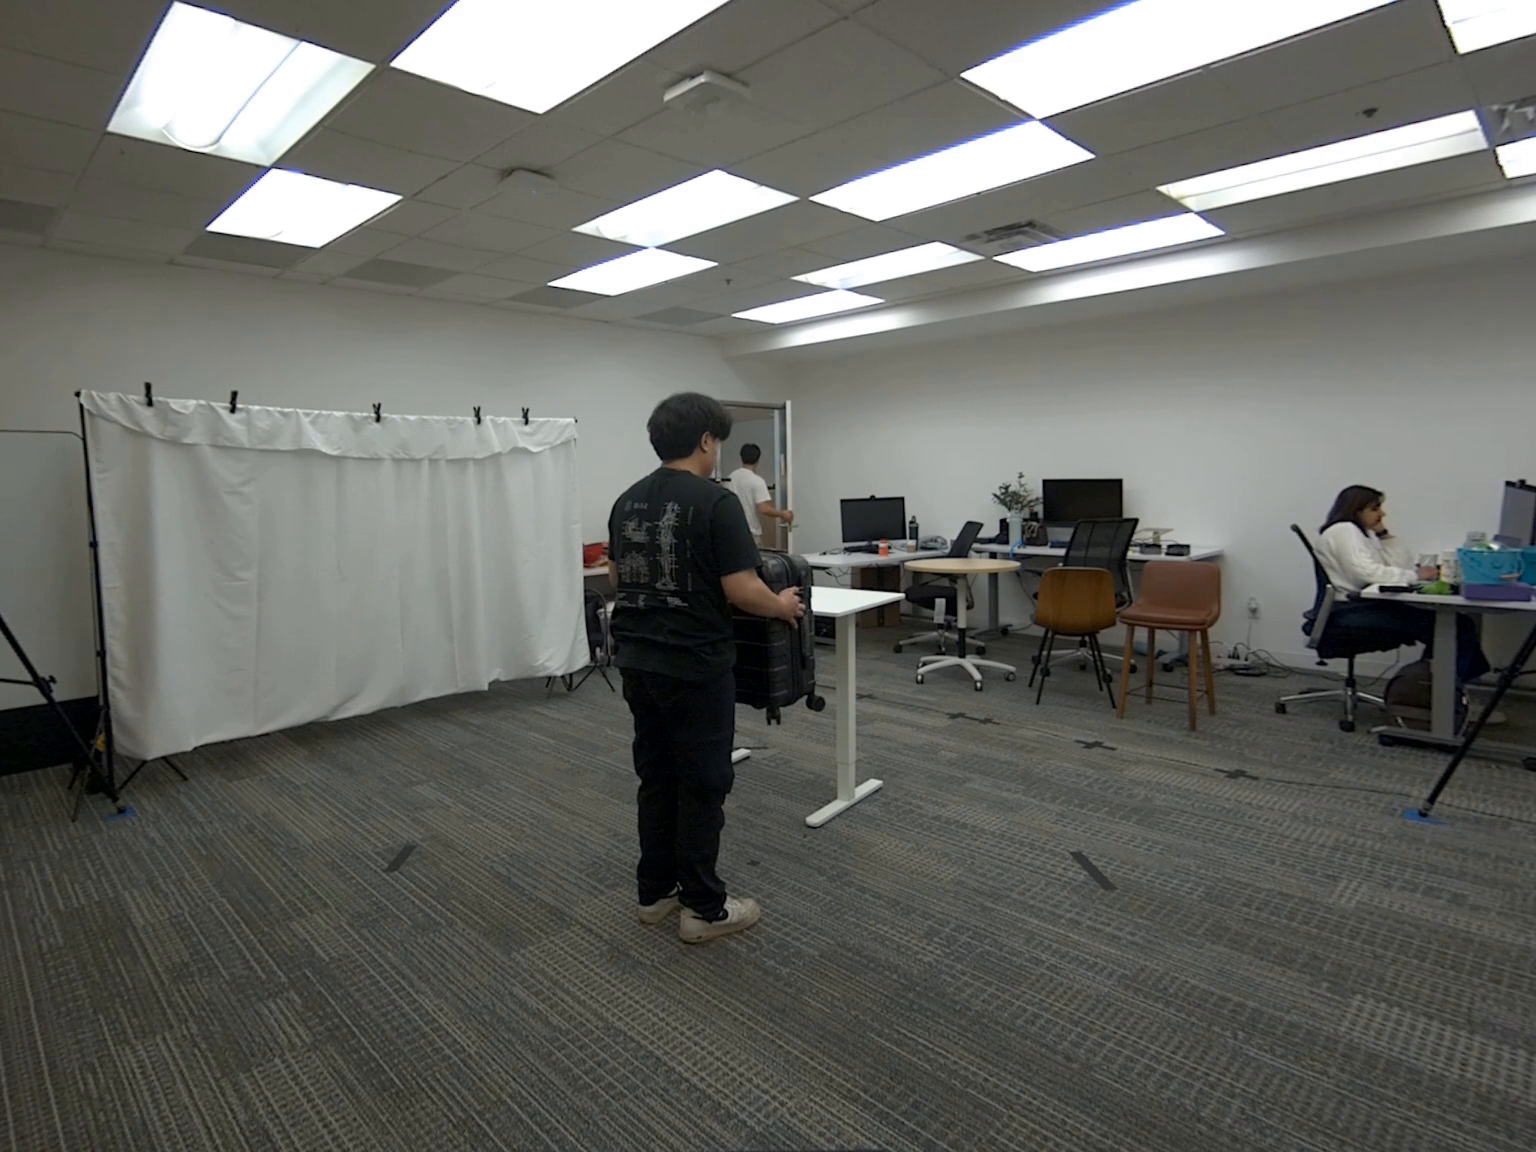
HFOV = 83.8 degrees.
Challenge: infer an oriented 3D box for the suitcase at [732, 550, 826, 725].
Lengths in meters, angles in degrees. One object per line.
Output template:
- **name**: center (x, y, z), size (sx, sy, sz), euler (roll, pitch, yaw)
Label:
- **suitcase**: center (-0.037, 0.193, 2.905), size (0.386, 0.548, 0.242), euler (1, 5, 41)
